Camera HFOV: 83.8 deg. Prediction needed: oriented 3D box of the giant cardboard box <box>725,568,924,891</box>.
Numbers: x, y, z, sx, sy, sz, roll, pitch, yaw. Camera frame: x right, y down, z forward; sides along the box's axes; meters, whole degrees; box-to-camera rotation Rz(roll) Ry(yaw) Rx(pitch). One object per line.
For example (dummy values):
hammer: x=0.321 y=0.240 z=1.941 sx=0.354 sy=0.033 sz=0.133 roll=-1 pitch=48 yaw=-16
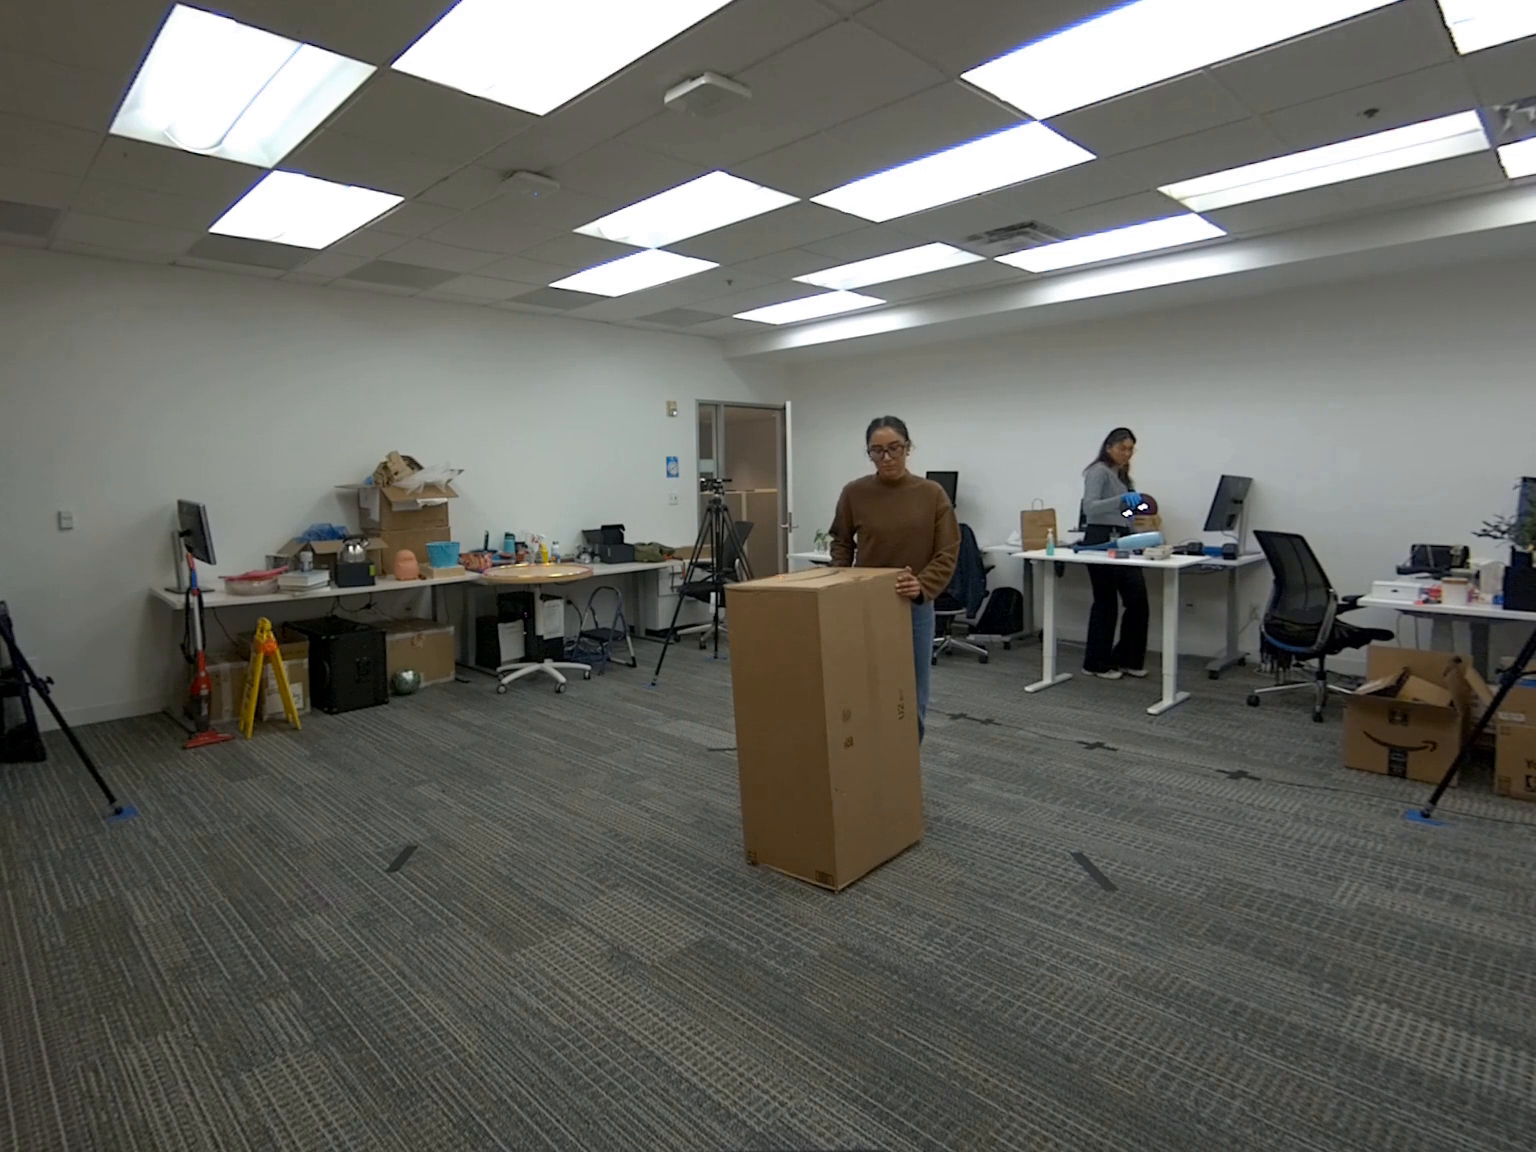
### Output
giant cardboard box: x=0.214 y=0.513 z=3.173 sx=0.438 sy=1.023 sz=0.563 roll=-1 pitch=4 yaw=42
